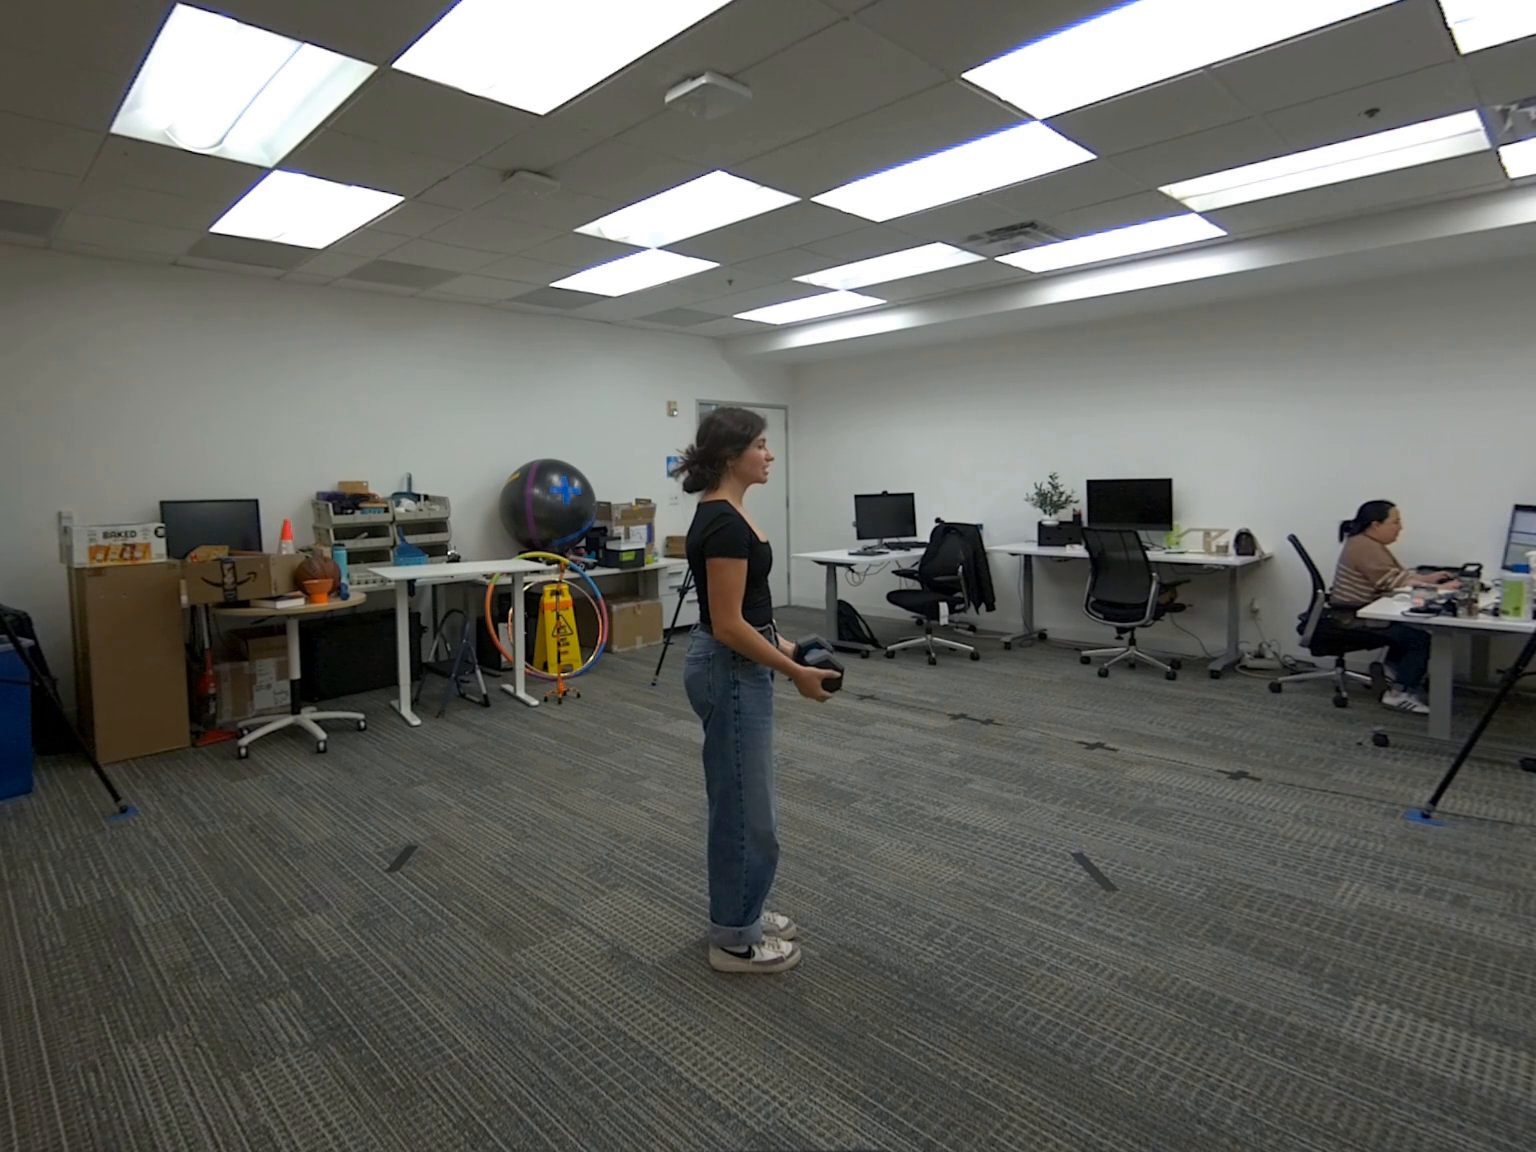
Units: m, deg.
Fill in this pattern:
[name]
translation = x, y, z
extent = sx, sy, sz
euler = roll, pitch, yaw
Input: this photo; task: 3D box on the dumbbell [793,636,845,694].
[dumbbell]
translation = 0.142, 0.240, 2.464
extent = 0.123, 0.108, 0.295
euler = -19, 6, 0
